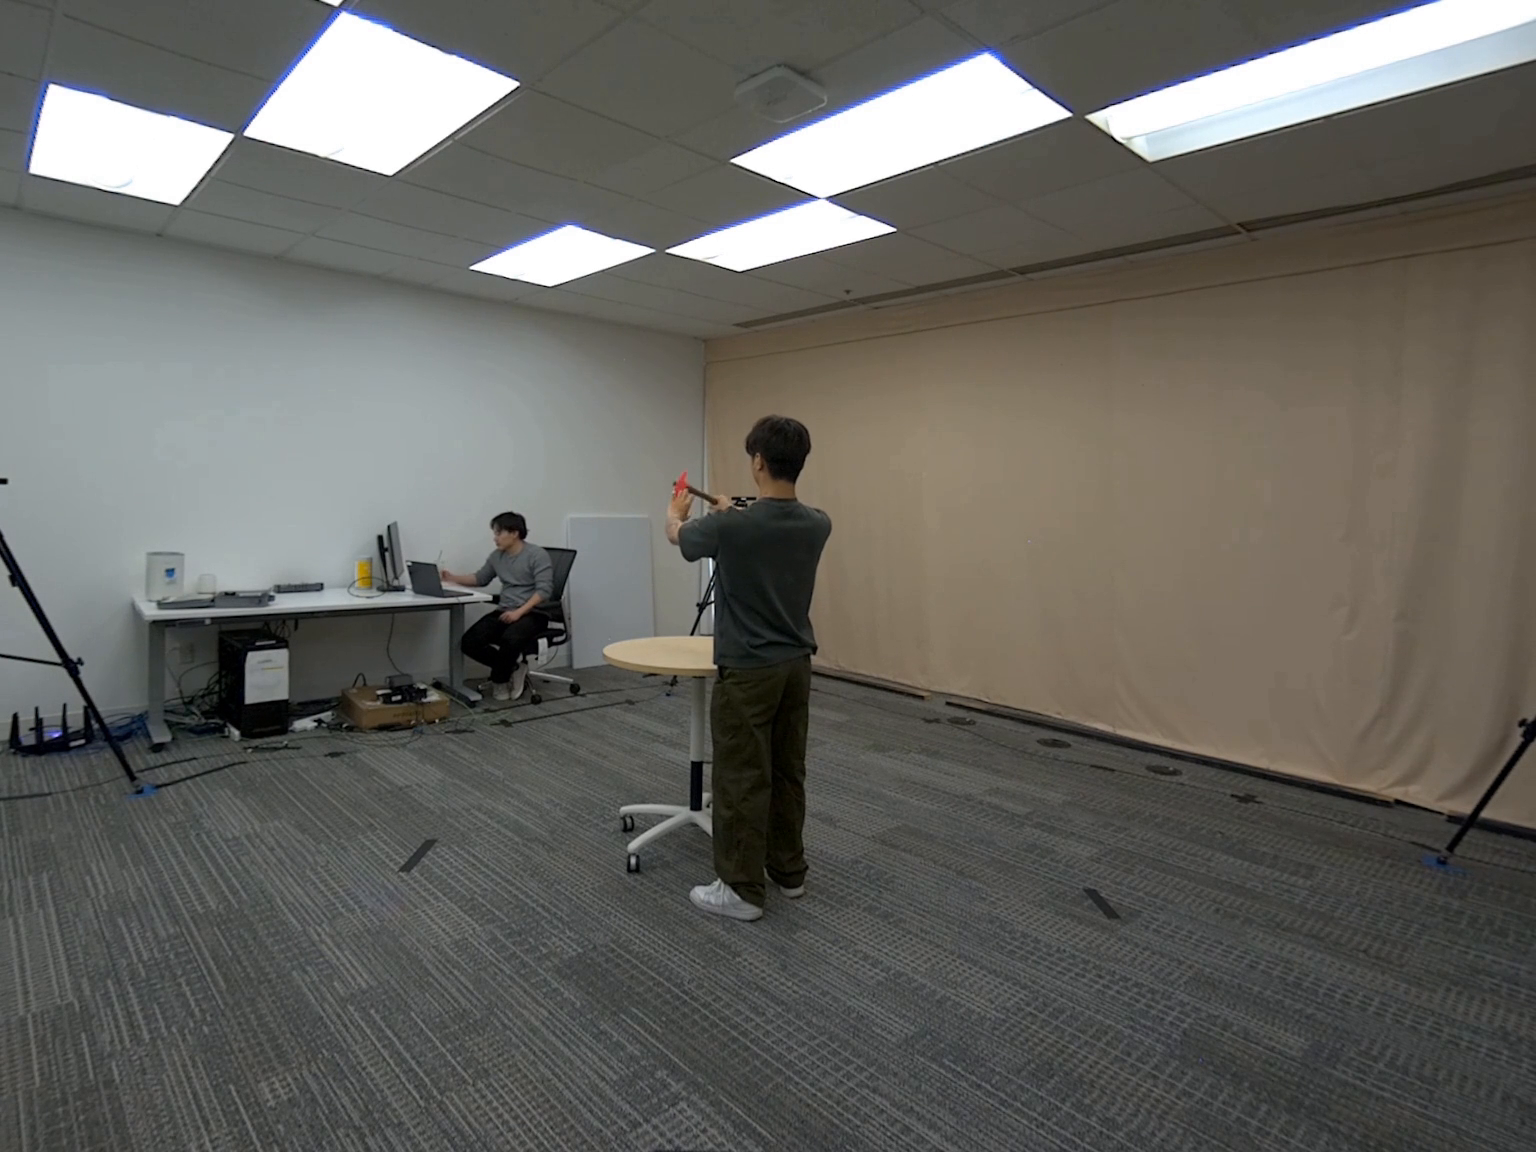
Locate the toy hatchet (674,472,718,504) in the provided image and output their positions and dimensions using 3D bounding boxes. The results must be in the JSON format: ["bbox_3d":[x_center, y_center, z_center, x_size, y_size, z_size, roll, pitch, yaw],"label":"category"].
[{"bbox_3d":[-0.261,-0.289,3.354,0.267,0.131,0.030,42,-13,-11],"label":"toy hatchet"}]
